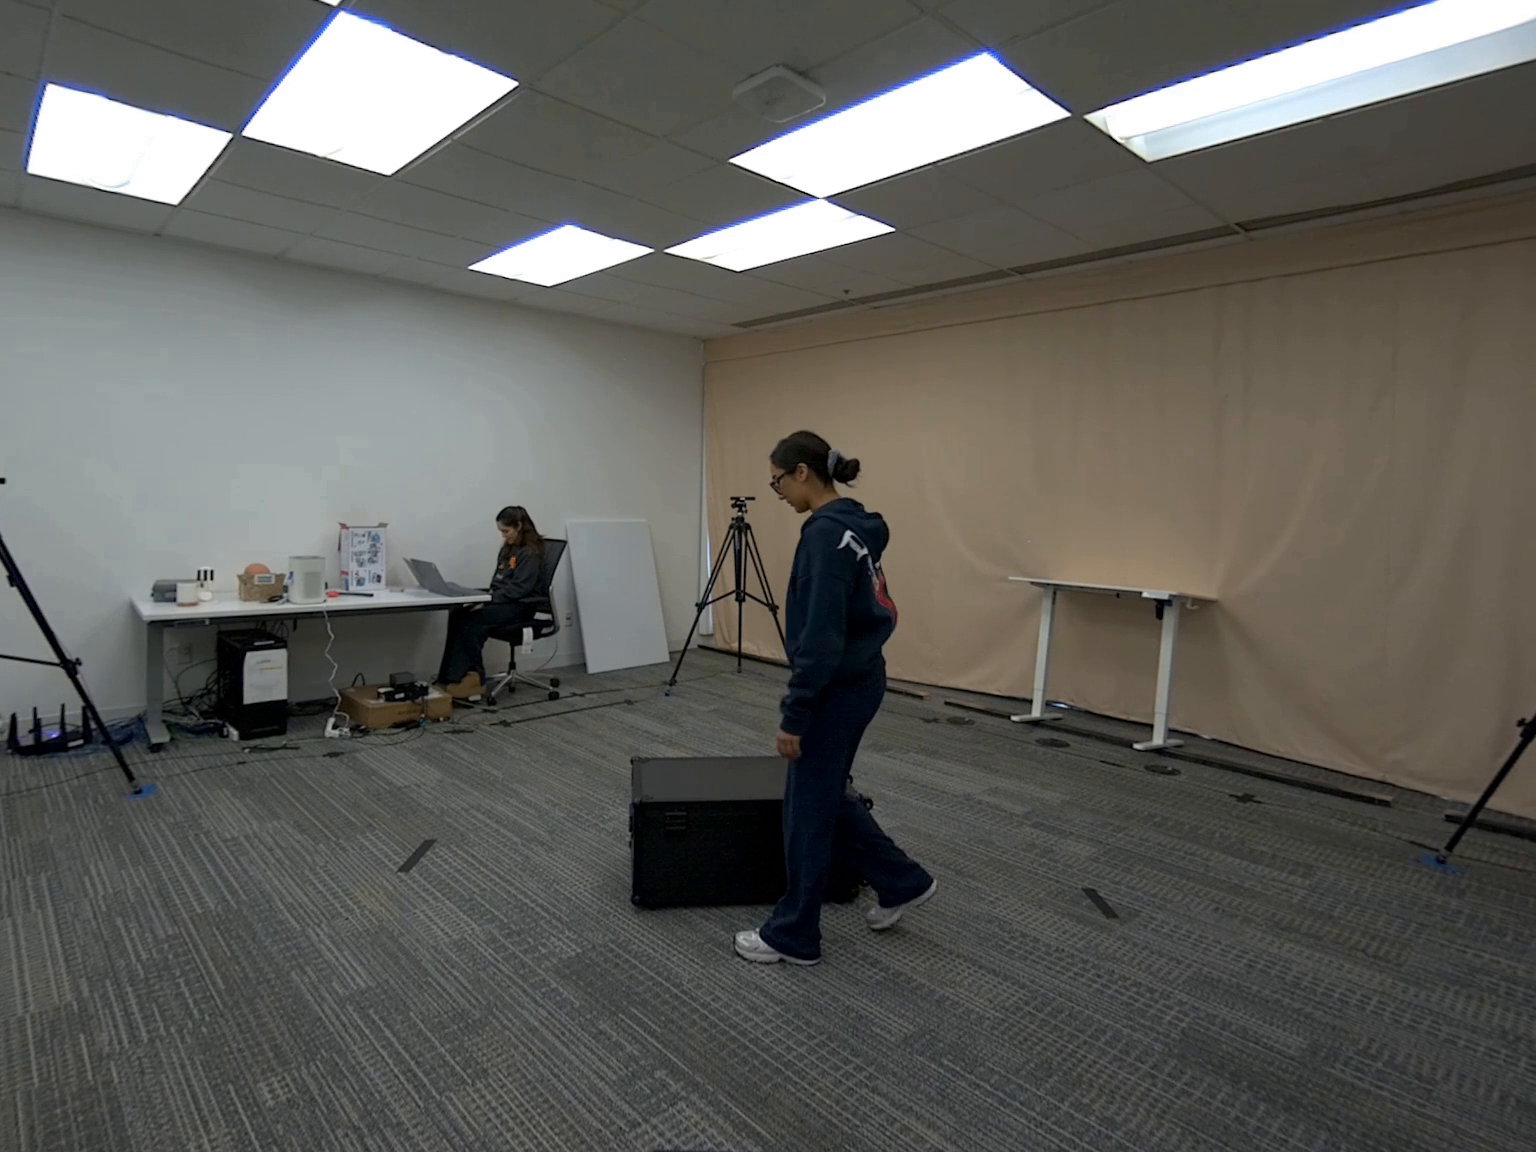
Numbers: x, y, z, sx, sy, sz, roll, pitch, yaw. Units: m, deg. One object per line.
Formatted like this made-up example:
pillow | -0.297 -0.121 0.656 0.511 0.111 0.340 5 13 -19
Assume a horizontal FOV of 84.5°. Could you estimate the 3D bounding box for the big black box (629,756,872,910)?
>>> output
big black box | -0.079 0.918 3.091 0.855 0.395 0.526 1 4 -9
